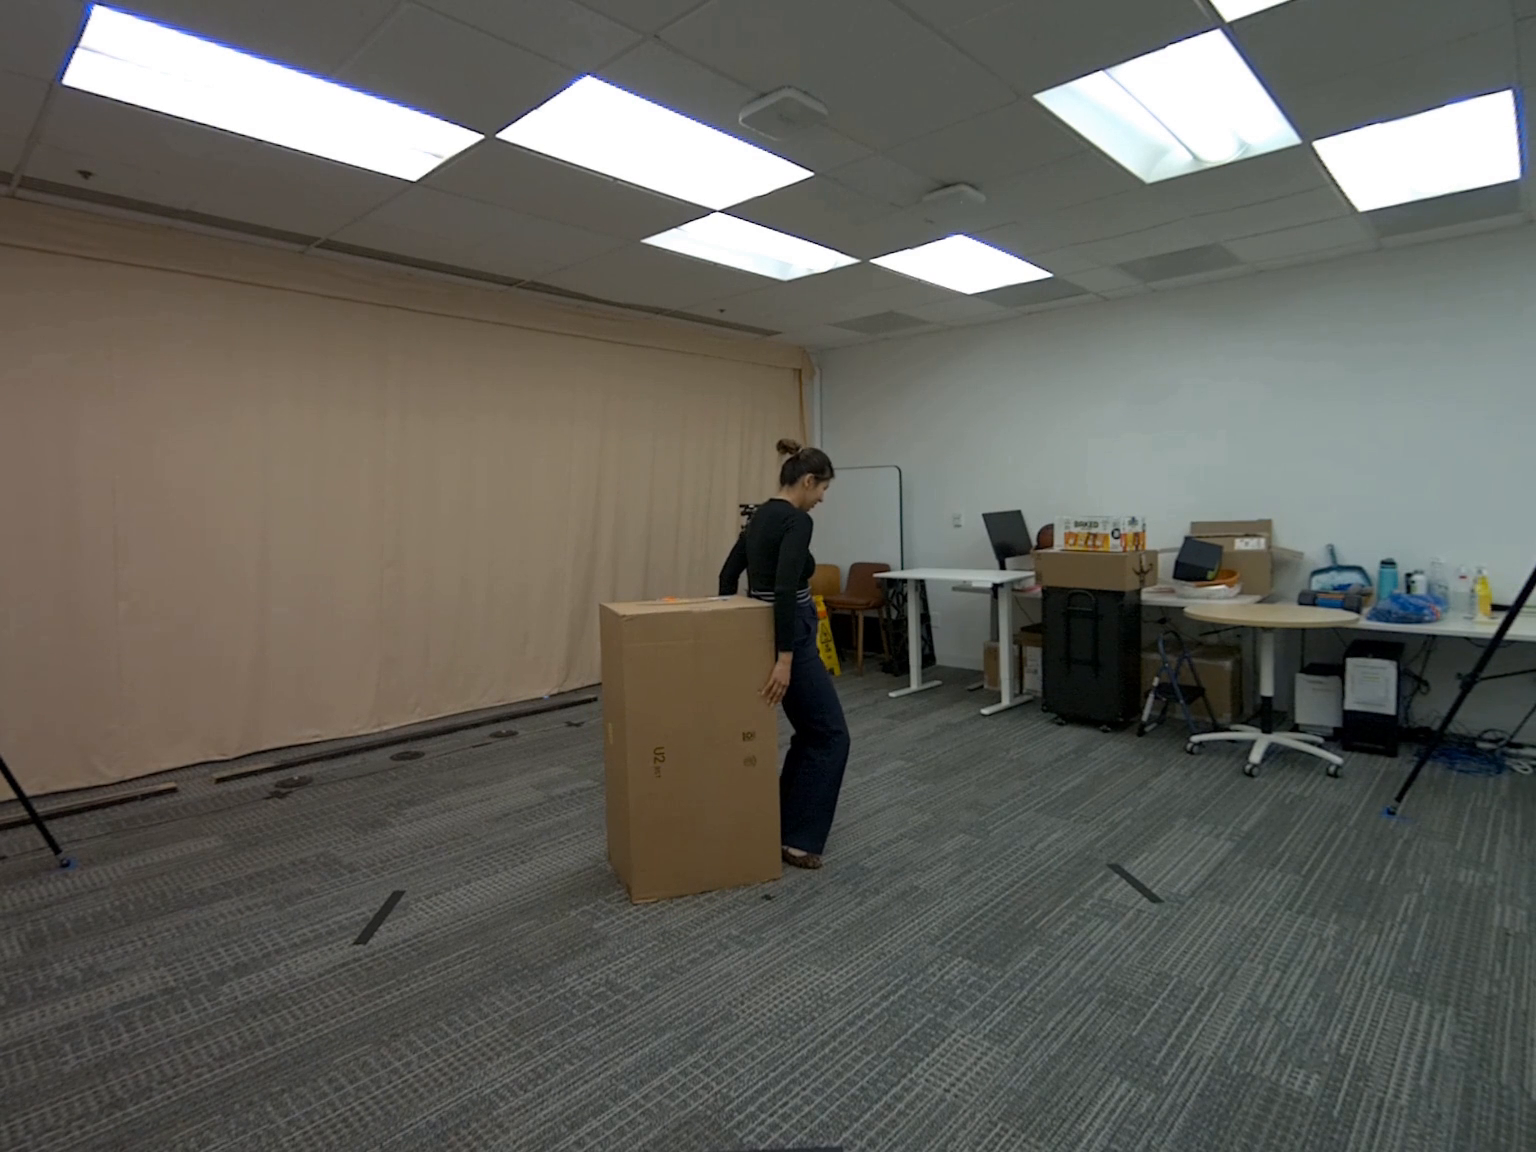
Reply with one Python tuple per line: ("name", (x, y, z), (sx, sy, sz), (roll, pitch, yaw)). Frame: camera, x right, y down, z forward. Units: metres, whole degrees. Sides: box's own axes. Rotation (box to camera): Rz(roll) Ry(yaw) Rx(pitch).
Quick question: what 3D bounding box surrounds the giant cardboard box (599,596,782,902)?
("giant cardboard box", (-0.308, 0.616, 3.207), (0.566, 1.024, 0.436), (-2, 3, -21))
